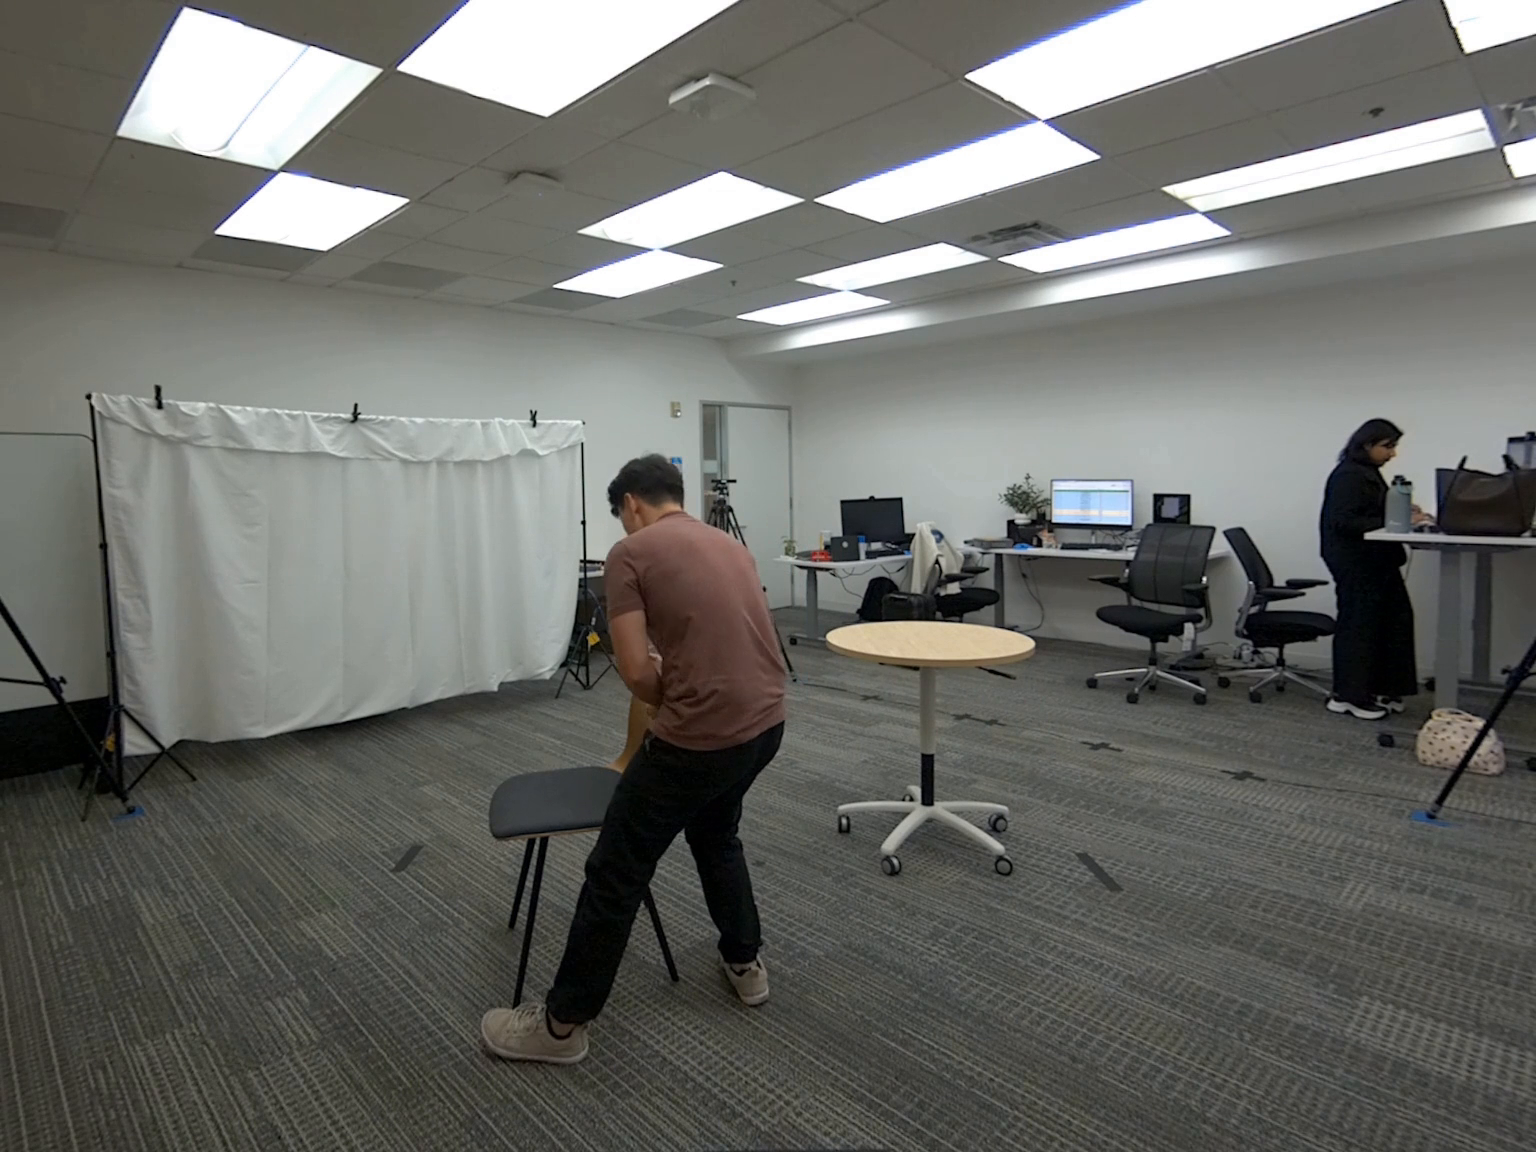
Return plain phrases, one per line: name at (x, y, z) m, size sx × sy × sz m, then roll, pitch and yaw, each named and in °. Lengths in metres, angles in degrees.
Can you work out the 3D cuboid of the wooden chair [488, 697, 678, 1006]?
wooden chair at (-0.547, 0.701, 2.513) m, size 0.515 × 0.875 × 0.487 m, roll 2°, pitch 4°, yaw -17°
